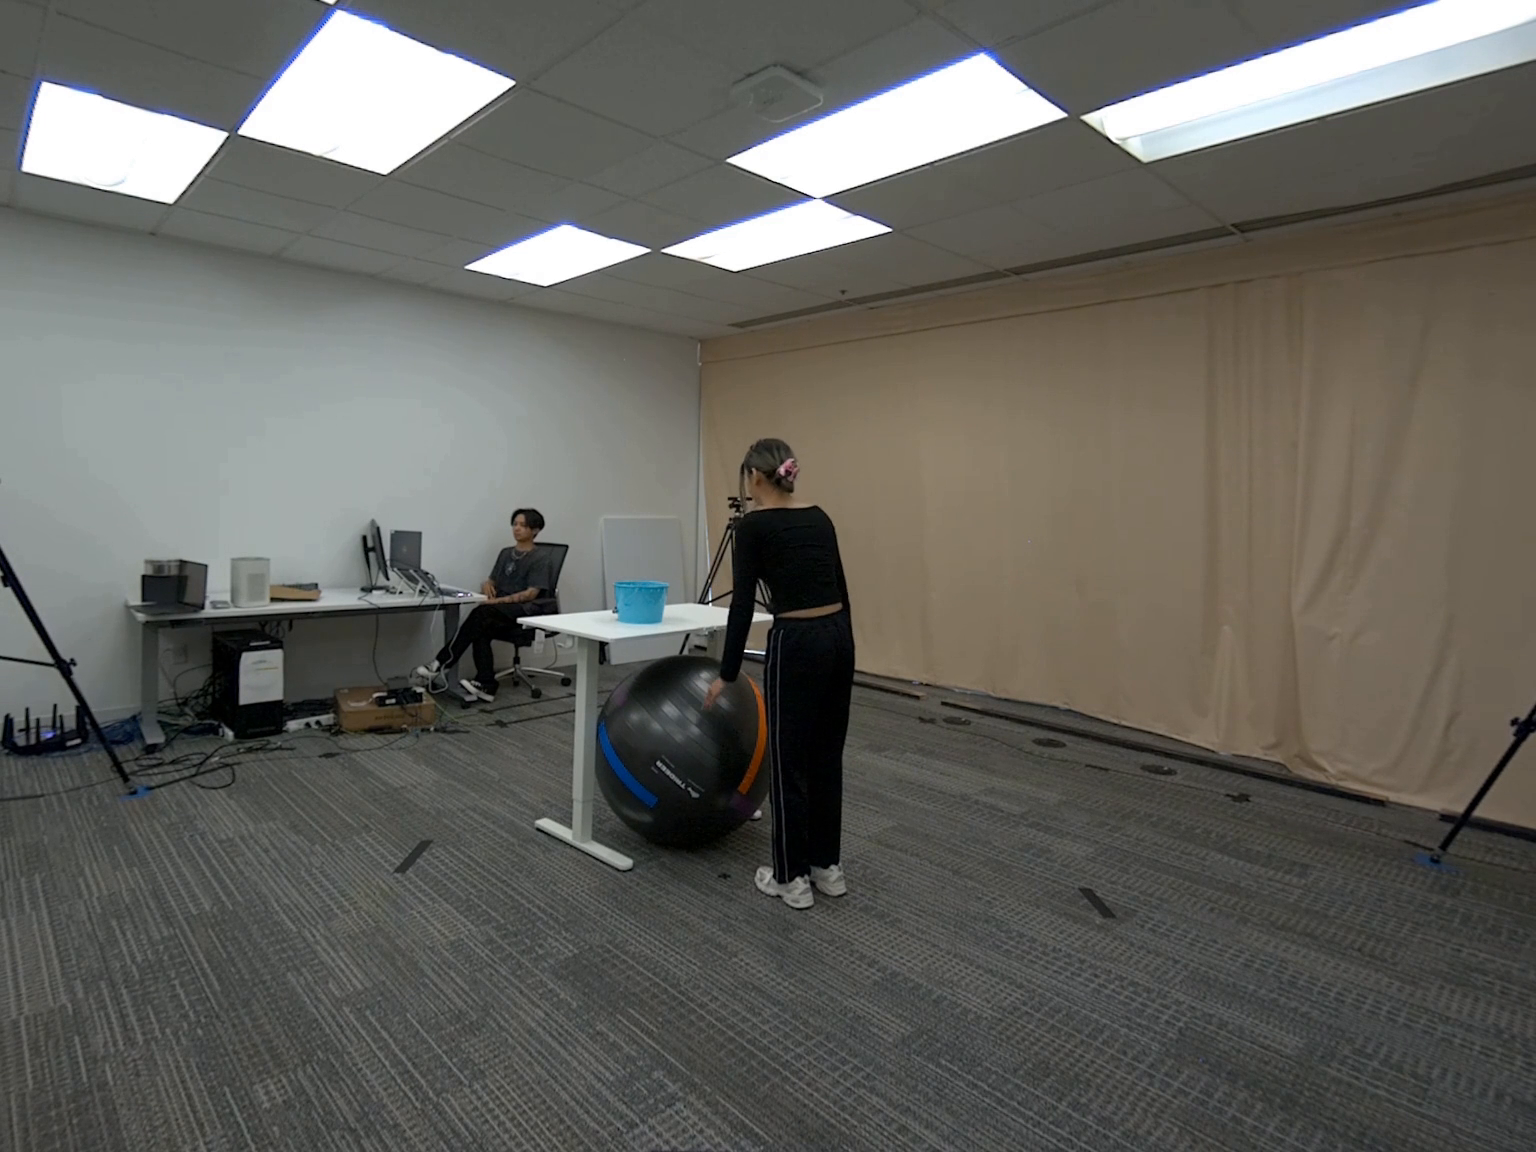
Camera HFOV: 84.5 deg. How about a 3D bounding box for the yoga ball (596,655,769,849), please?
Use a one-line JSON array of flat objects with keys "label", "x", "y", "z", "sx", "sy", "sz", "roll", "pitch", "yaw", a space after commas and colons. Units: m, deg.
[{"label": "yoga ball", "x": -0.338, "y": 0.705, "z": 3.454, "sx": 0.757, "sy": 0.756, "sz": 0.760, "roll": 1, "pitch": 4, "yaw": -1}]
